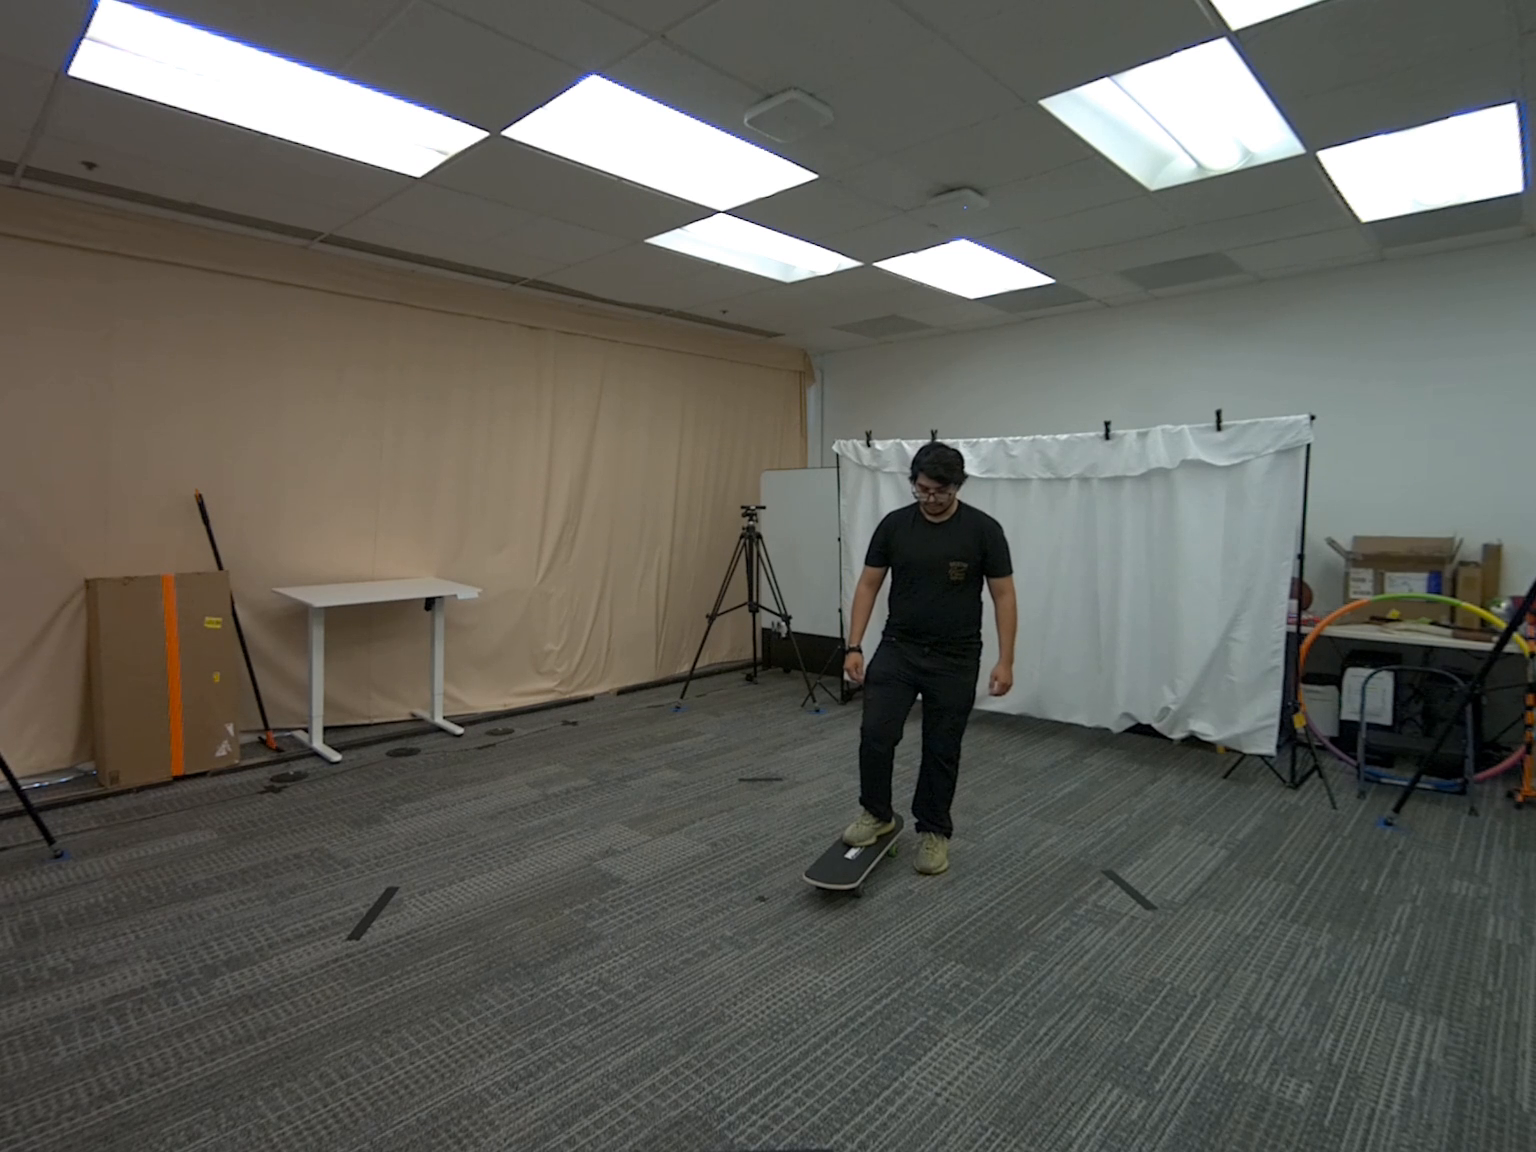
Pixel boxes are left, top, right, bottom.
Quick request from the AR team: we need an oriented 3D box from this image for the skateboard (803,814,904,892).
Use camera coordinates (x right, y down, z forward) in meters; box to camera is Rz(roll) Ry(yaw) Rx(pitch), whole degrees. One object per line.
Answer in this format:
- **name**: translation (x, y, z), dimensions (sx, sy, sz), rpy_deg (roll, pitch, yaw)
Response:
- **skateboard**: translation (0.351, 1.071, 3.201), dimensions (0.199, 0.110, 0.766), rpy_deg (2, 5, 26)
